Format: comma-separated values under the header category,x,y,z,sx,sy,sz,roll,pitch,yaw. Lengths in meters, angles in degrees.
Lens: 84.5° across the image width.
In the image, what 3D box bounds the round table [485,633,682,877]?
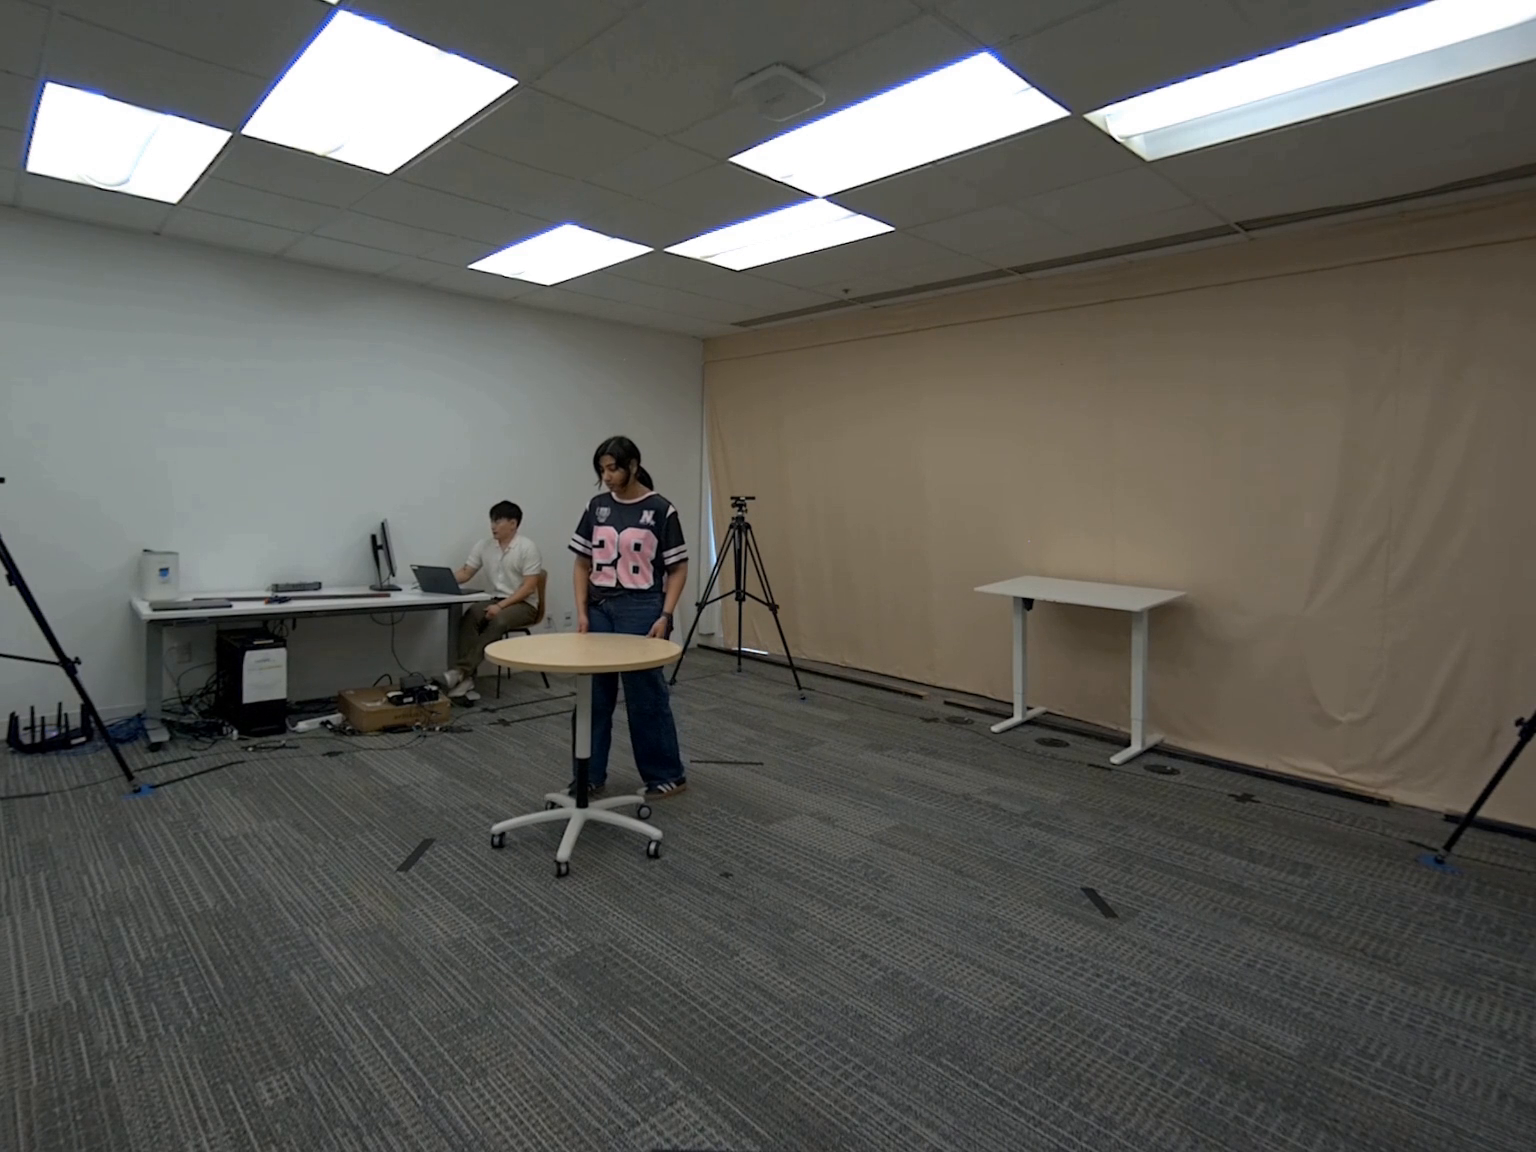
category,x,y,z,sx,sy,sz,roll,pitch,yaw
round table,-0.749,0.677,3.346,0.784,0.785,0.787,2,3,-1
